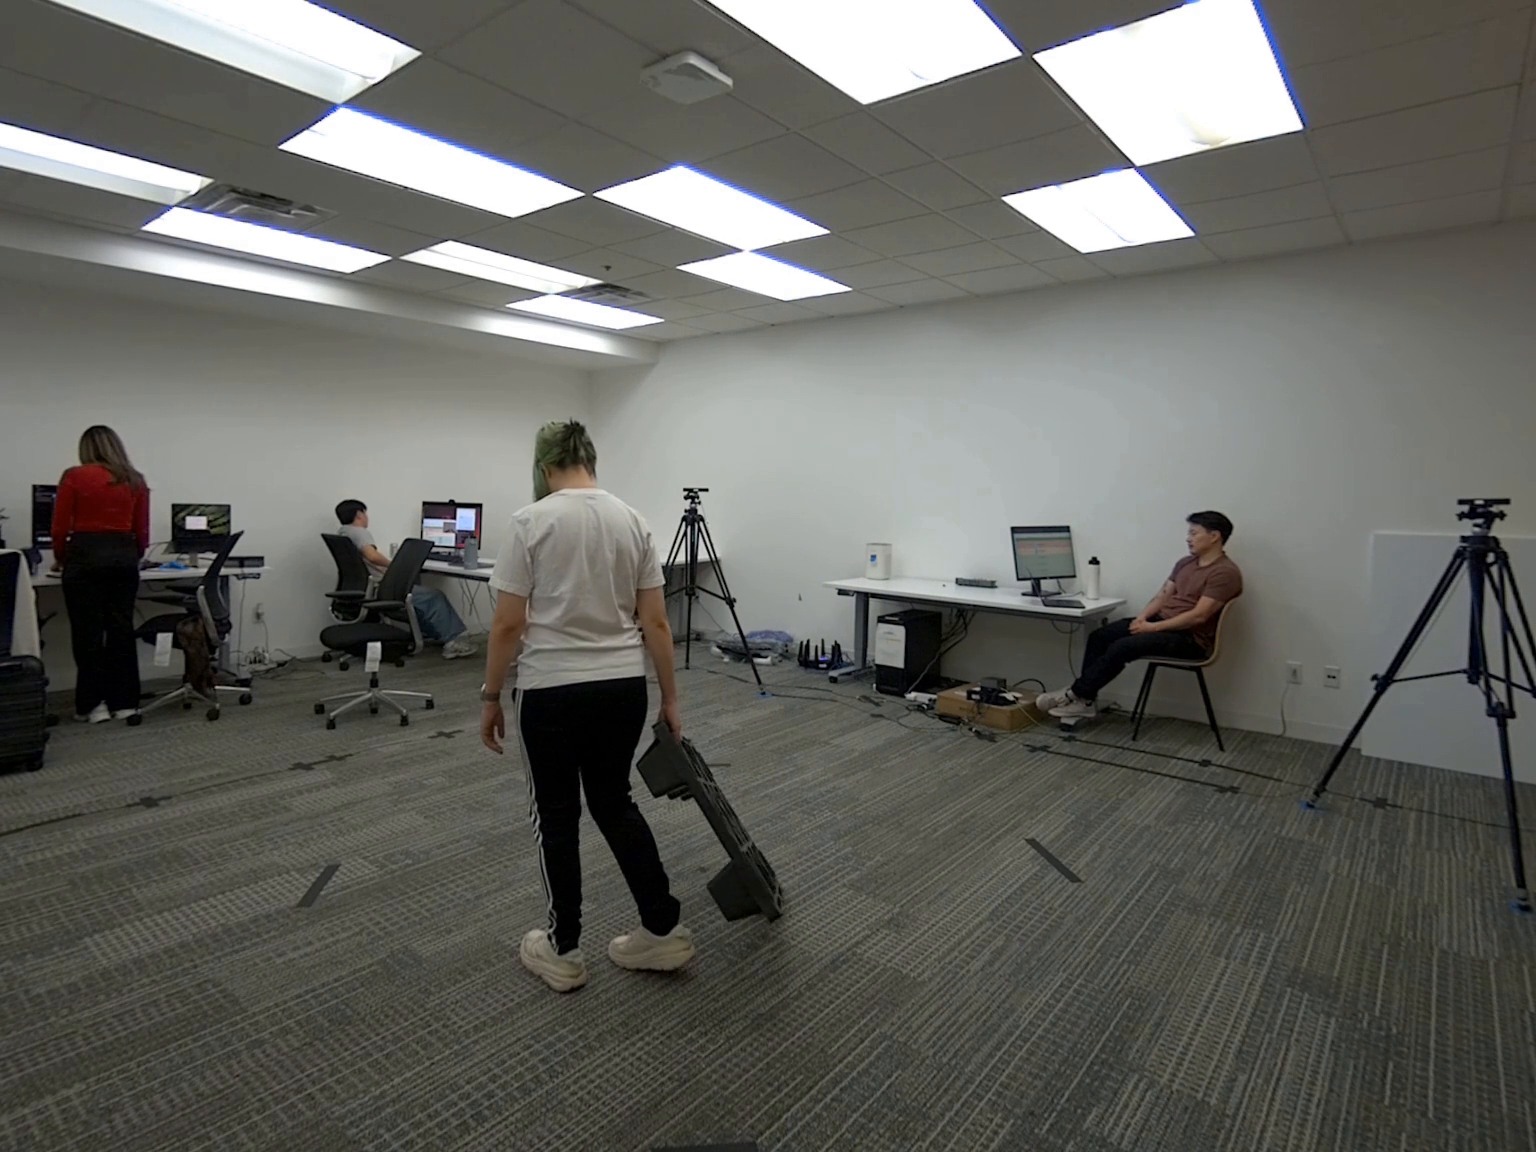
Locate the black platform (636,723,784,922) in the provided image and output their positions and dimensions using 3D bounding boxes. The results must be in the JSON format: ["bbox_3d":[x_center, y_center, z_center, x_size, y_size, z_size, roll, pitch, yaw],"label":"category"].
[{"bbox_3d":[-0.179,0.777,2.645,0.143,0.619,0.790,-32,-15,-7],"label":"black platform"}]
